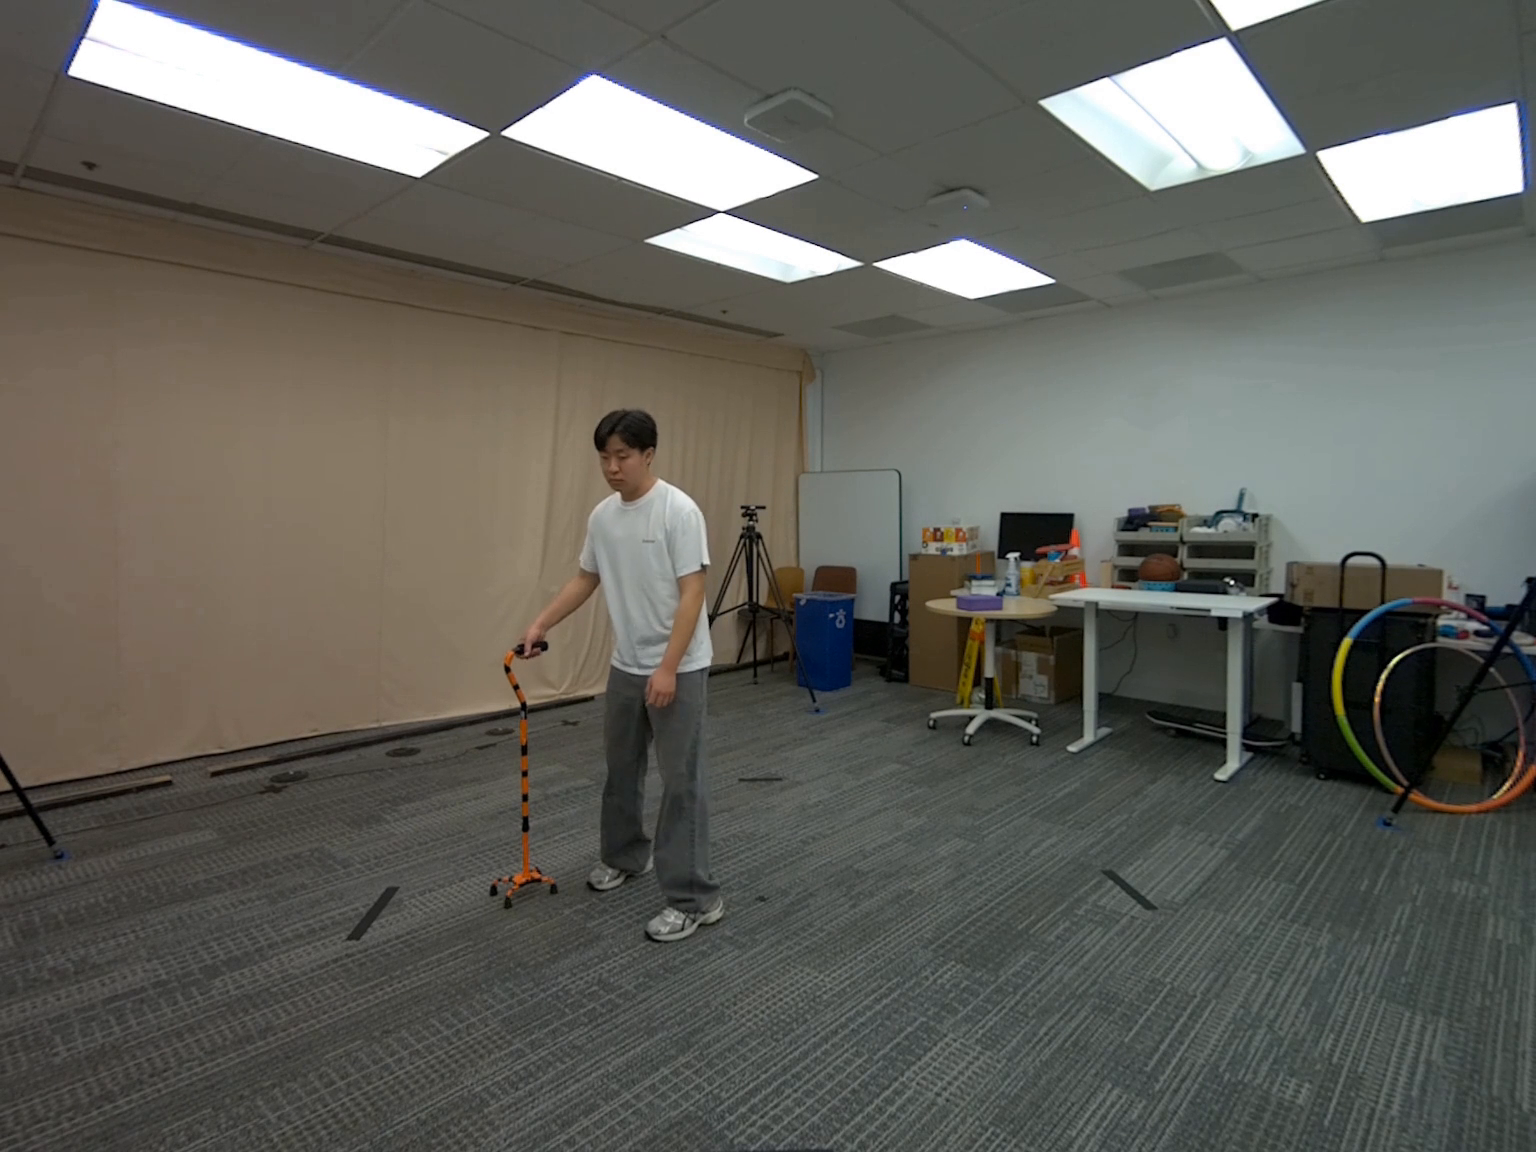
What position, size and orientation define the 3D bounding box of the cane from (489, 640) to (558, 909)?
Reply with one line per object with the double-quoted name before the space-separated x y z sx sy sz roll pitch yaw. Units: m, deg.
"cane" -0.869 0.700 2.997 0.200 0.905 0.156 -4 5 -41
